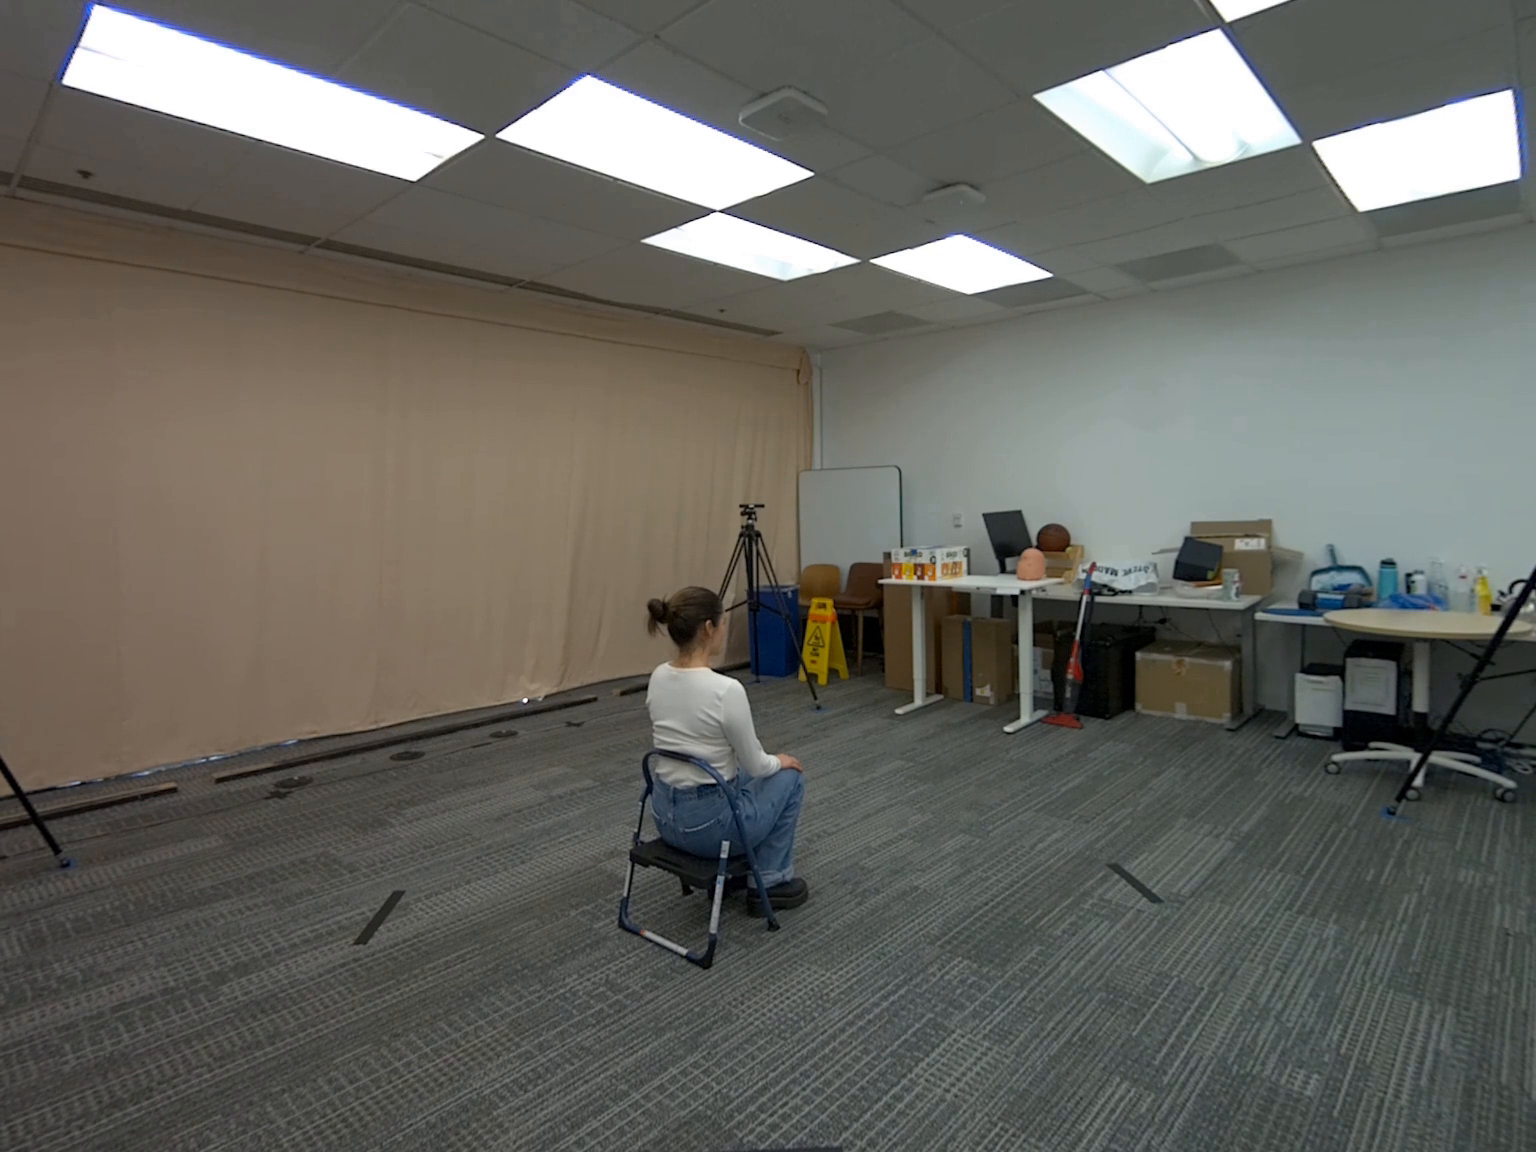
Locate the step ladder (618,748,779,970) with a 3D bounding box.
[{"bbox_3d":[-0.240,0.858,2.766,0.445,0.605,0.339,1,4,40],"label":"step ladder"}]
